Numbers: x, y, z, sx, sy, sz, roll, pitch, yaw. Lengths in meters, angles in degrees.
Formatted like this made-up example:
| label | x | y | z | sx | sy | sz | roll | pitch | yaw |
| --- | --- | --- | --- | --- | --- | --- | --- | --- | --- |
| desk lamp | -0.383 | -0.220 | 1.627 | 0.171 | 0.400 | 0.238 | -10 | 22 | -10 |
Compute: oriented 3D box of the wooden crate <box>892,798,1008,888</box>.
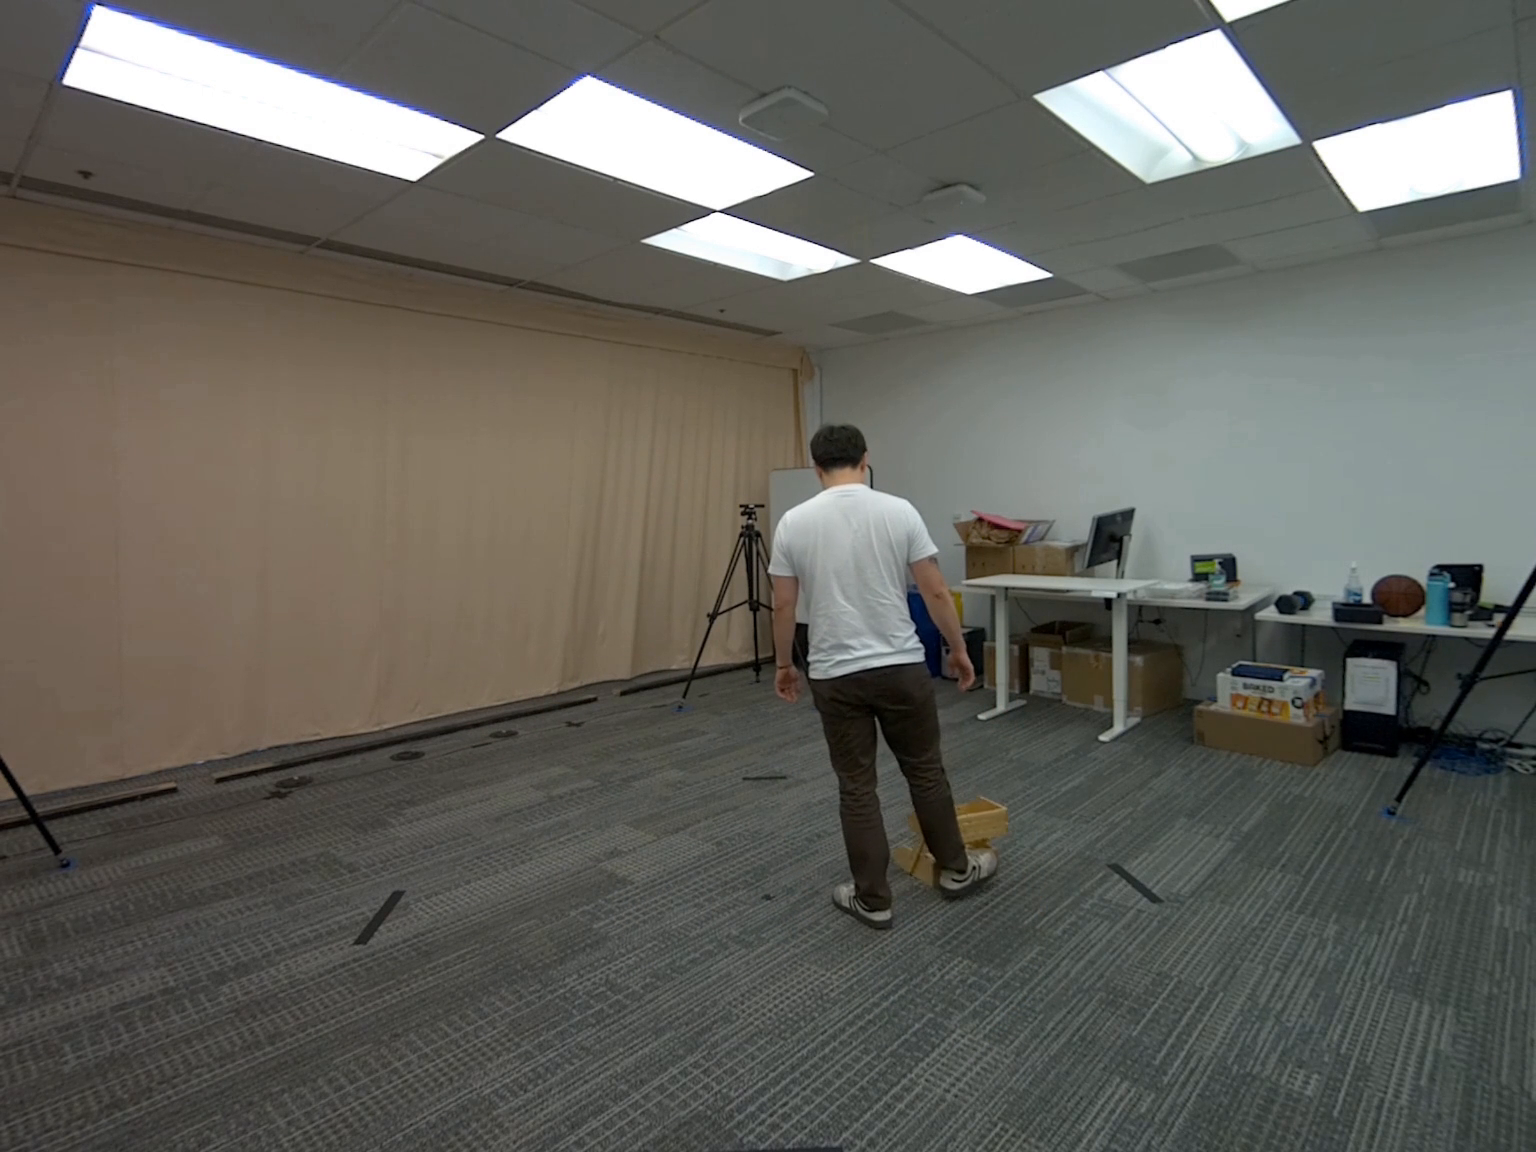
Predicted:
| label | x | y | z | sx | sy | sz | roll | pitch | yaw |
| --- | --- | --- | --- | --- | --- | --- | --- | --- | --- |
| wooden crate | 0.675 | 0.978 | 3.178 | 0.317 | 0.272 | 0.310 | -3 | 5 | -26 |
